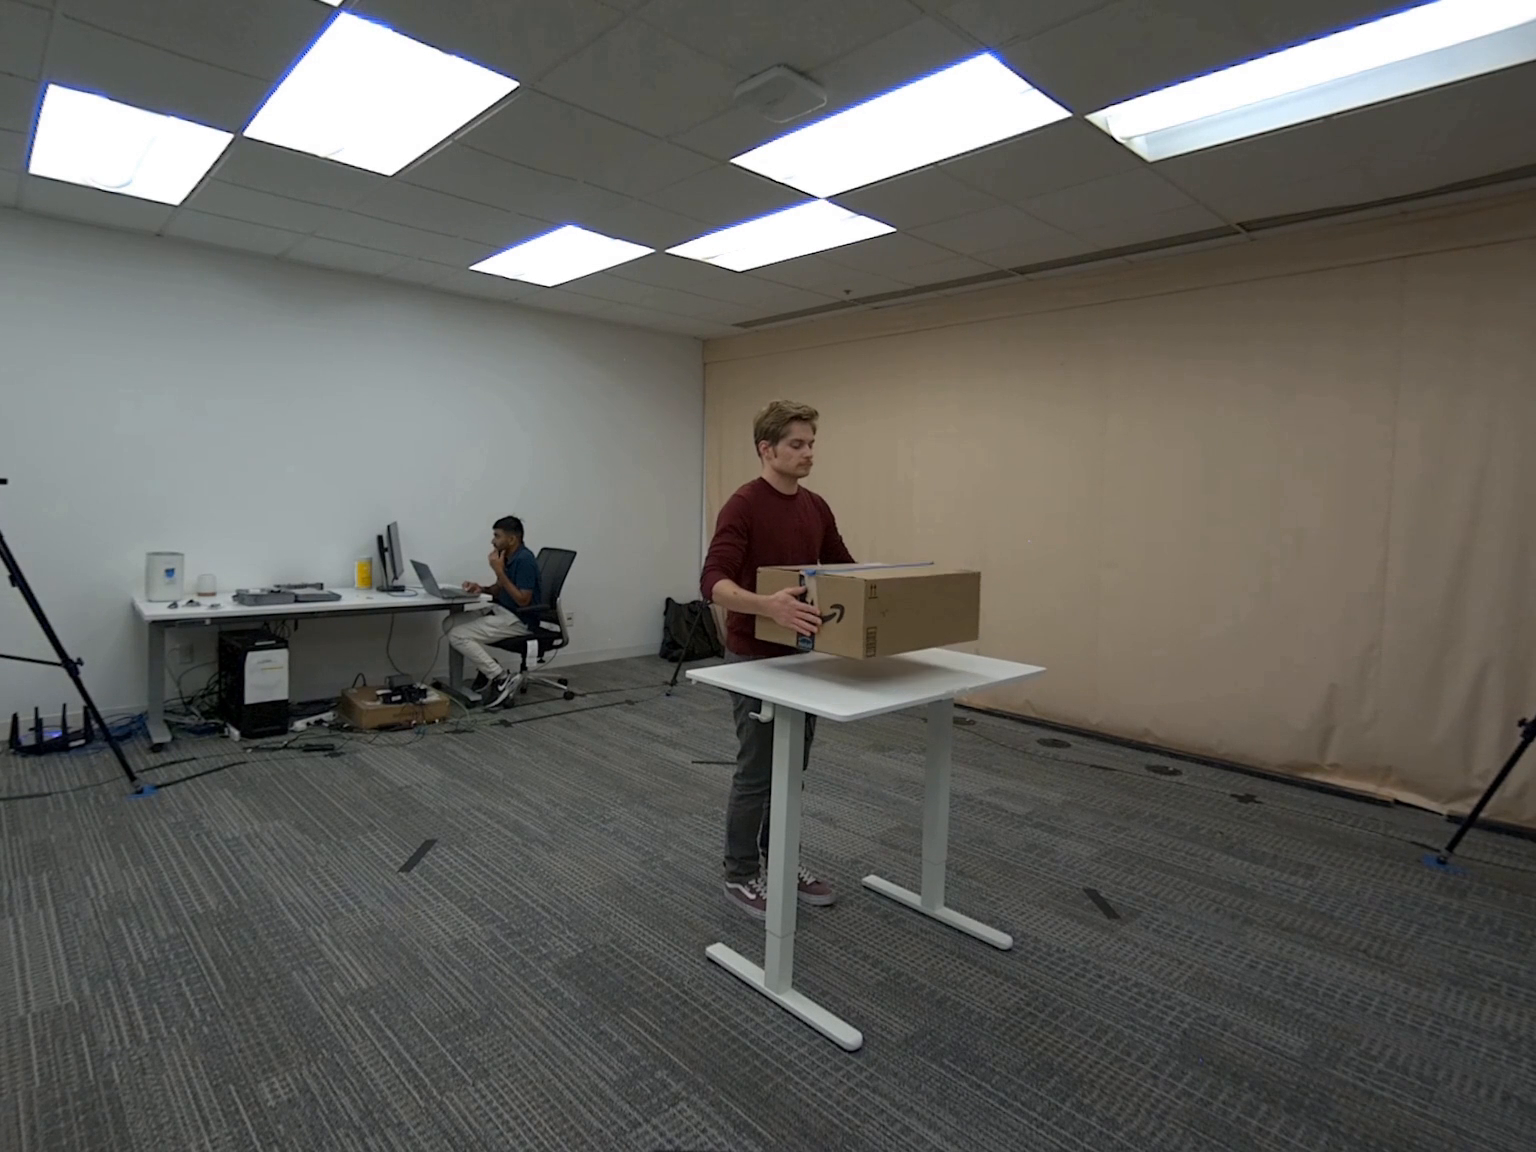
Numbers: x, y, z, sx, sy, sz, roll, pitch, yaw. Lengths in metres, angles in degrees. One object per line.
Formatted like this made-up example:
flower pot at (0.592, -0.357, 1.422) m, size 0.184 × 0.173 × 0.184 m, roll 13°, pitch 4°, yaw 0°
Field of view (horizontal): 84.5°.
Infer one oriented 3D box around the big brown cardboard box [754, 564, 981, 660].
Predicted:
big brown cardboard box at (0.302, 0.093, 2.542) m, size 0.576 × 0.232 × 0.428 m, roll -4°, pitch 7°, yaw -43°
